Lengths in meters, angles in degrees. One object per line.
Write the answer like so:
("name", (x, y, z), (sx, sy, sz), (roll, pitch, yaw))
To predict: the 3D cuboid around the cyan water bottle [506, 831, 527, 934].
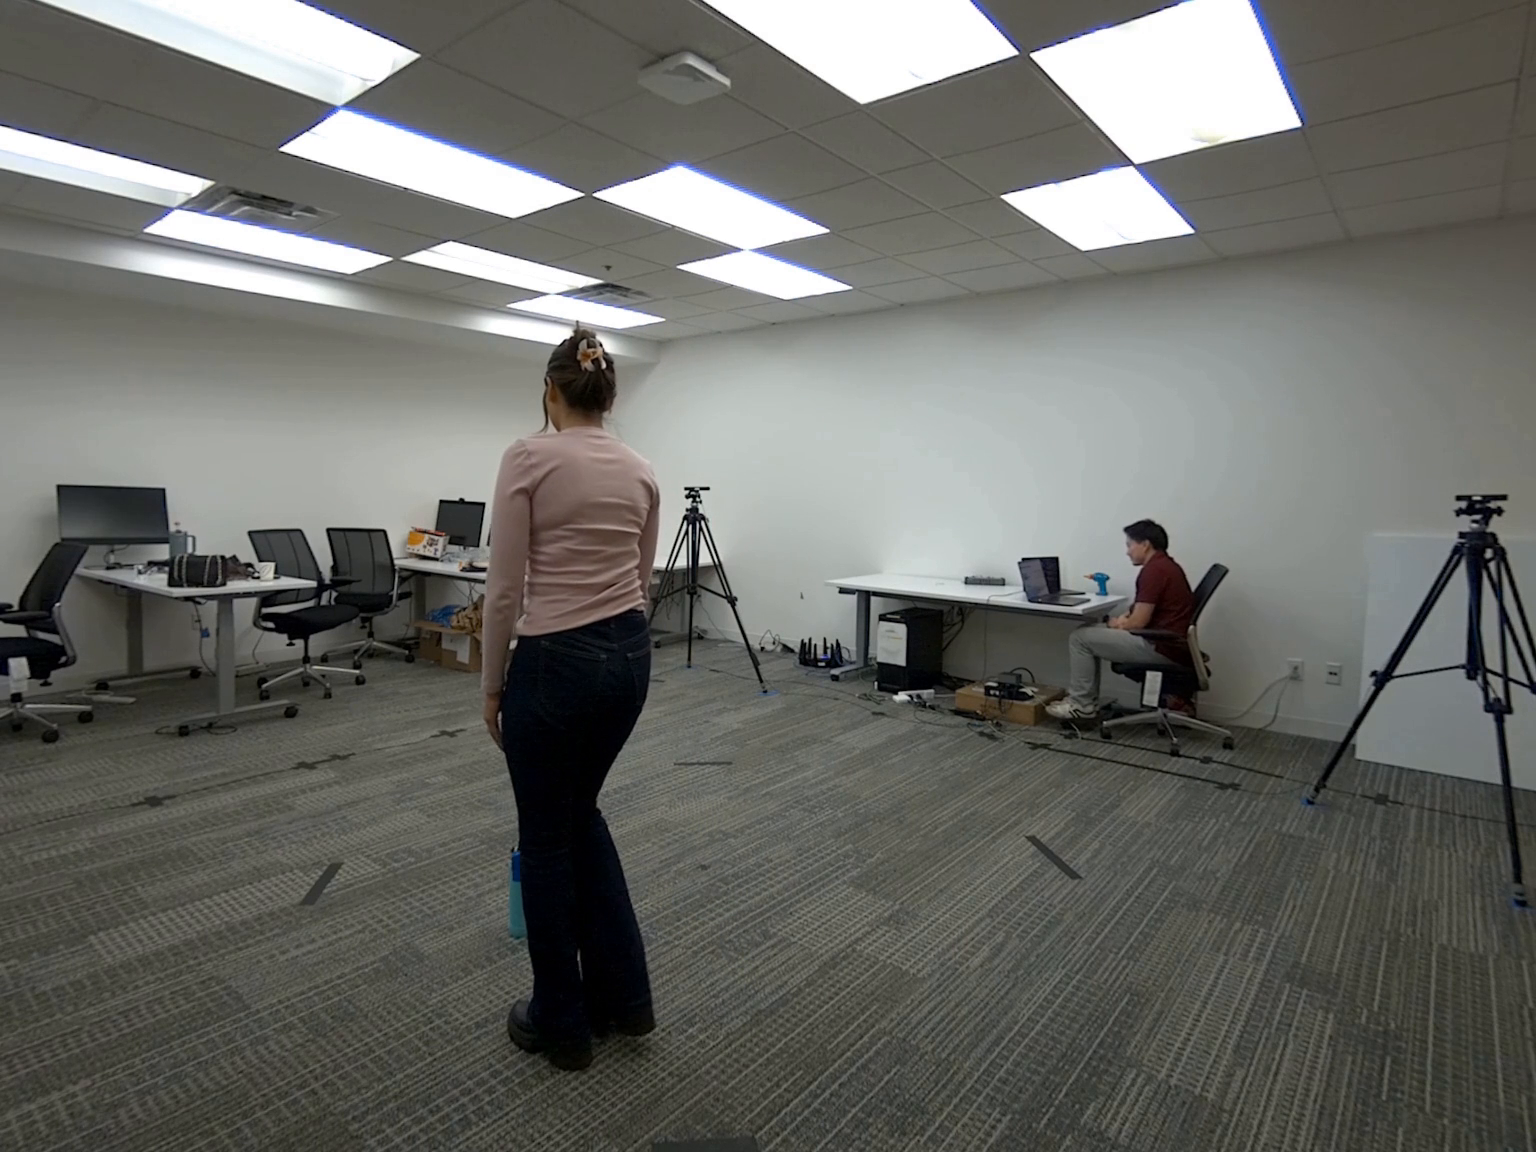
("cyan water bottle", (-0.766, 0.959, 2.644), (0.092, 0.283, 0.093), (1, 3, -2))
